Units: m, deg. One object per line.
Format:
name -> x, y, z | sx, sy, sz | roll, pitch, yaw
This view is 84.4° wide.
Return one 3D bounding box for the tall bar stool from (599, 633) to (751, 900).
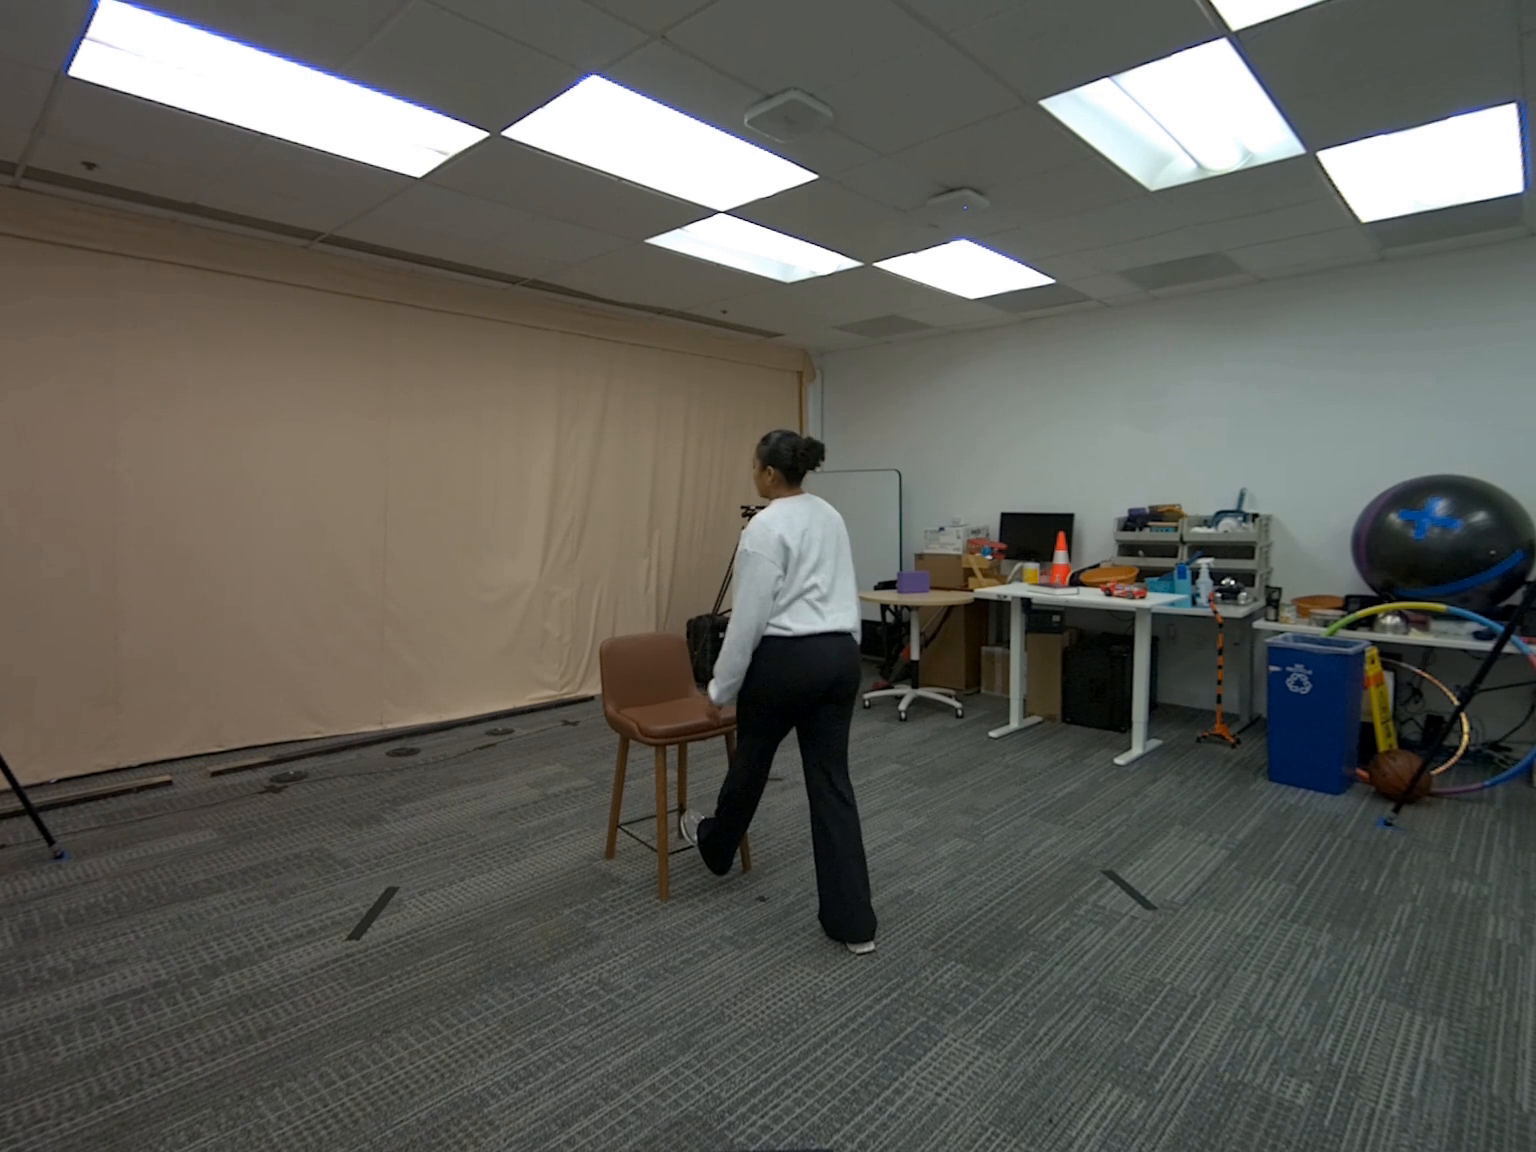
tall bar stool -> -0.370, 0.687, 3.257 | 0.443, 0.889, 0.482 | -3, 2, -38
